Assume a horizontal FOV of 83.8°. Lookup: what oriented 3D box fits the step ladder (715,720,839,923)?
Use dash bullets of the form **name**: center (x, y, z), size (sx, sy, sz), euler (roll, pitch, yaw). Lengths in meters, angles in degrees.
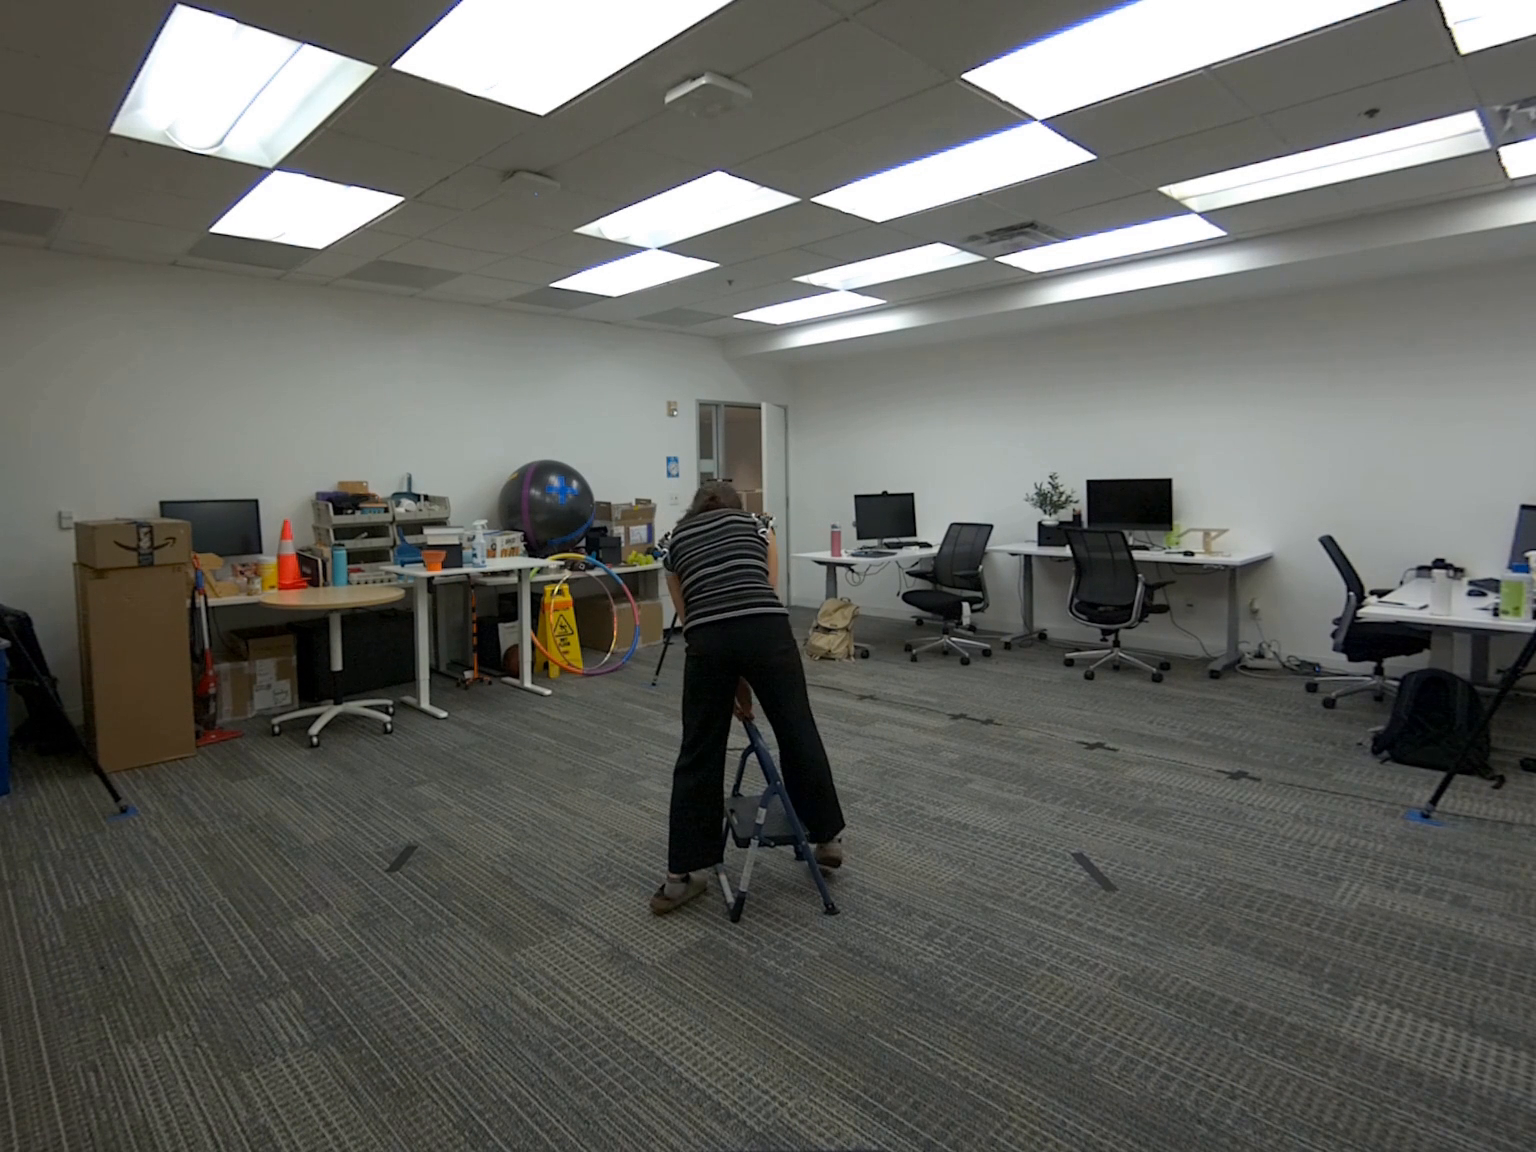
- **step ladder**: center (0.007, 0.767, 2.897), size (0.346, 0.604, 0.437), euler (-2, 5, -11)
